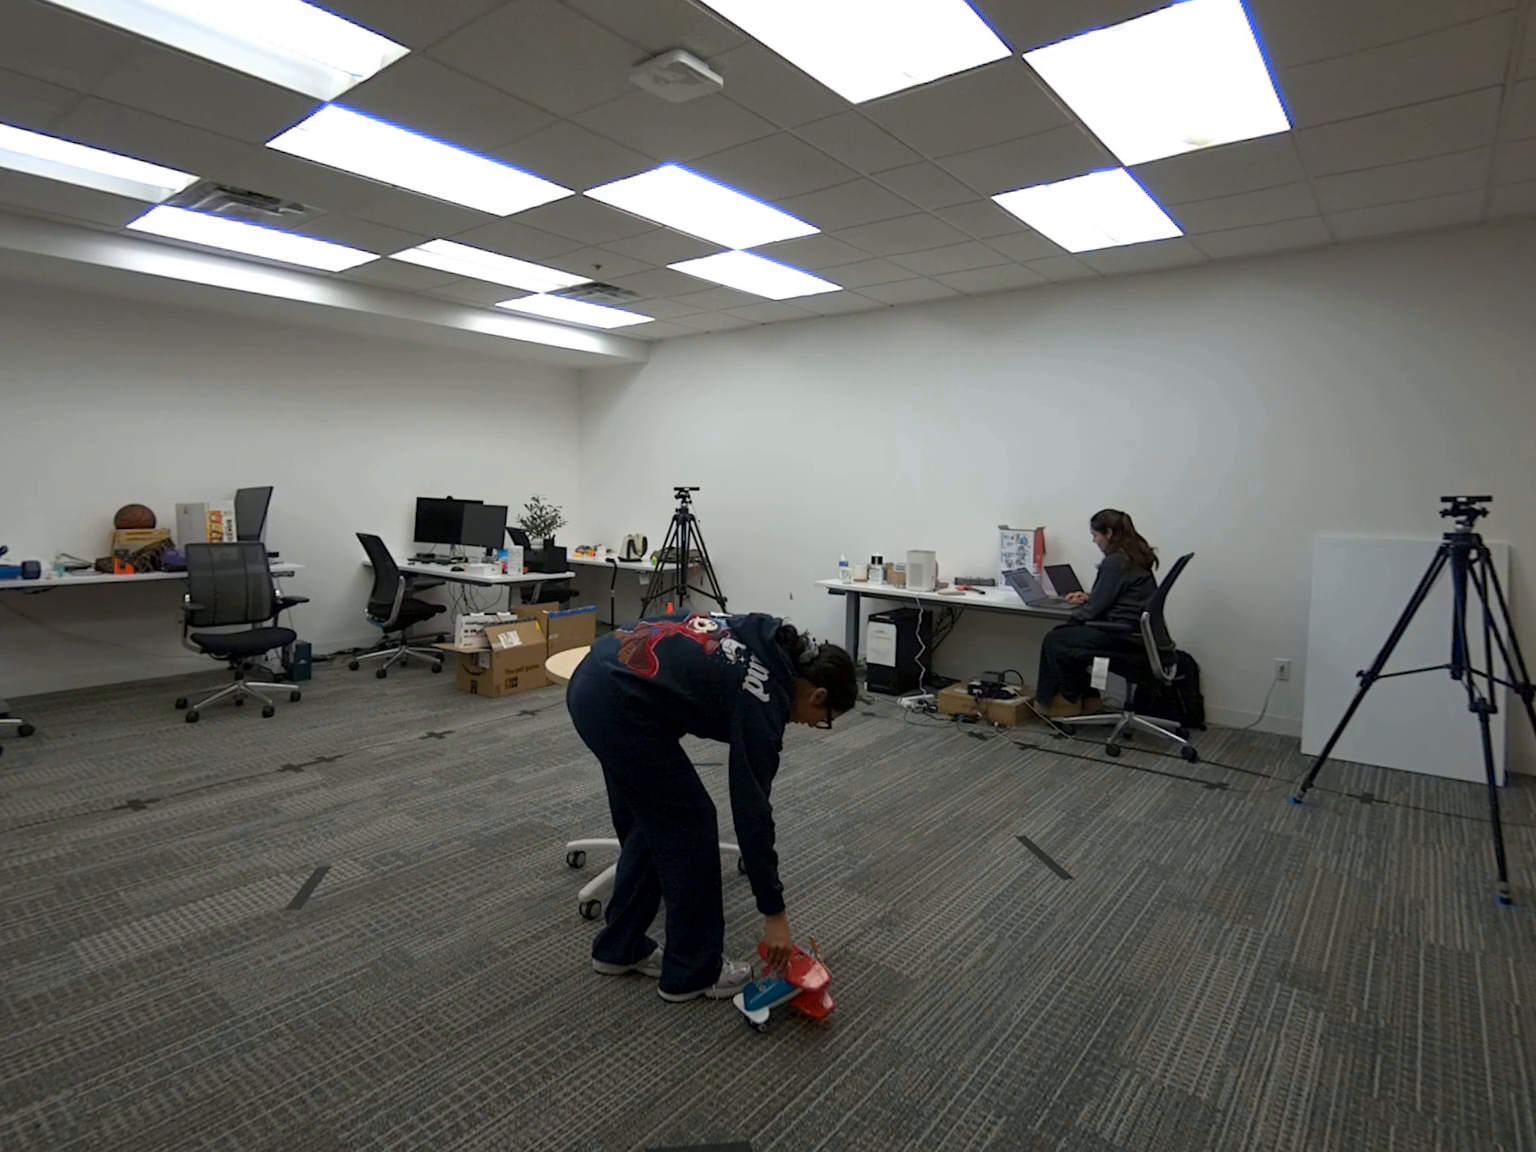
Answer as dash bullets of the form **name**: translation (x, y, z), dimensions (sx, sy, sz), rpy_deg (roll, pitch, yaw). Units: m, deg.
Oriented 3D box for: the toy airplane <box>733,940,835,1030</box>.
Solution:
- **toy airplane**: translation (0.044, 1.089, 2.233), dimensions (0.258, 0.156, 0.253), rpy_deg (3, 6, 26)
